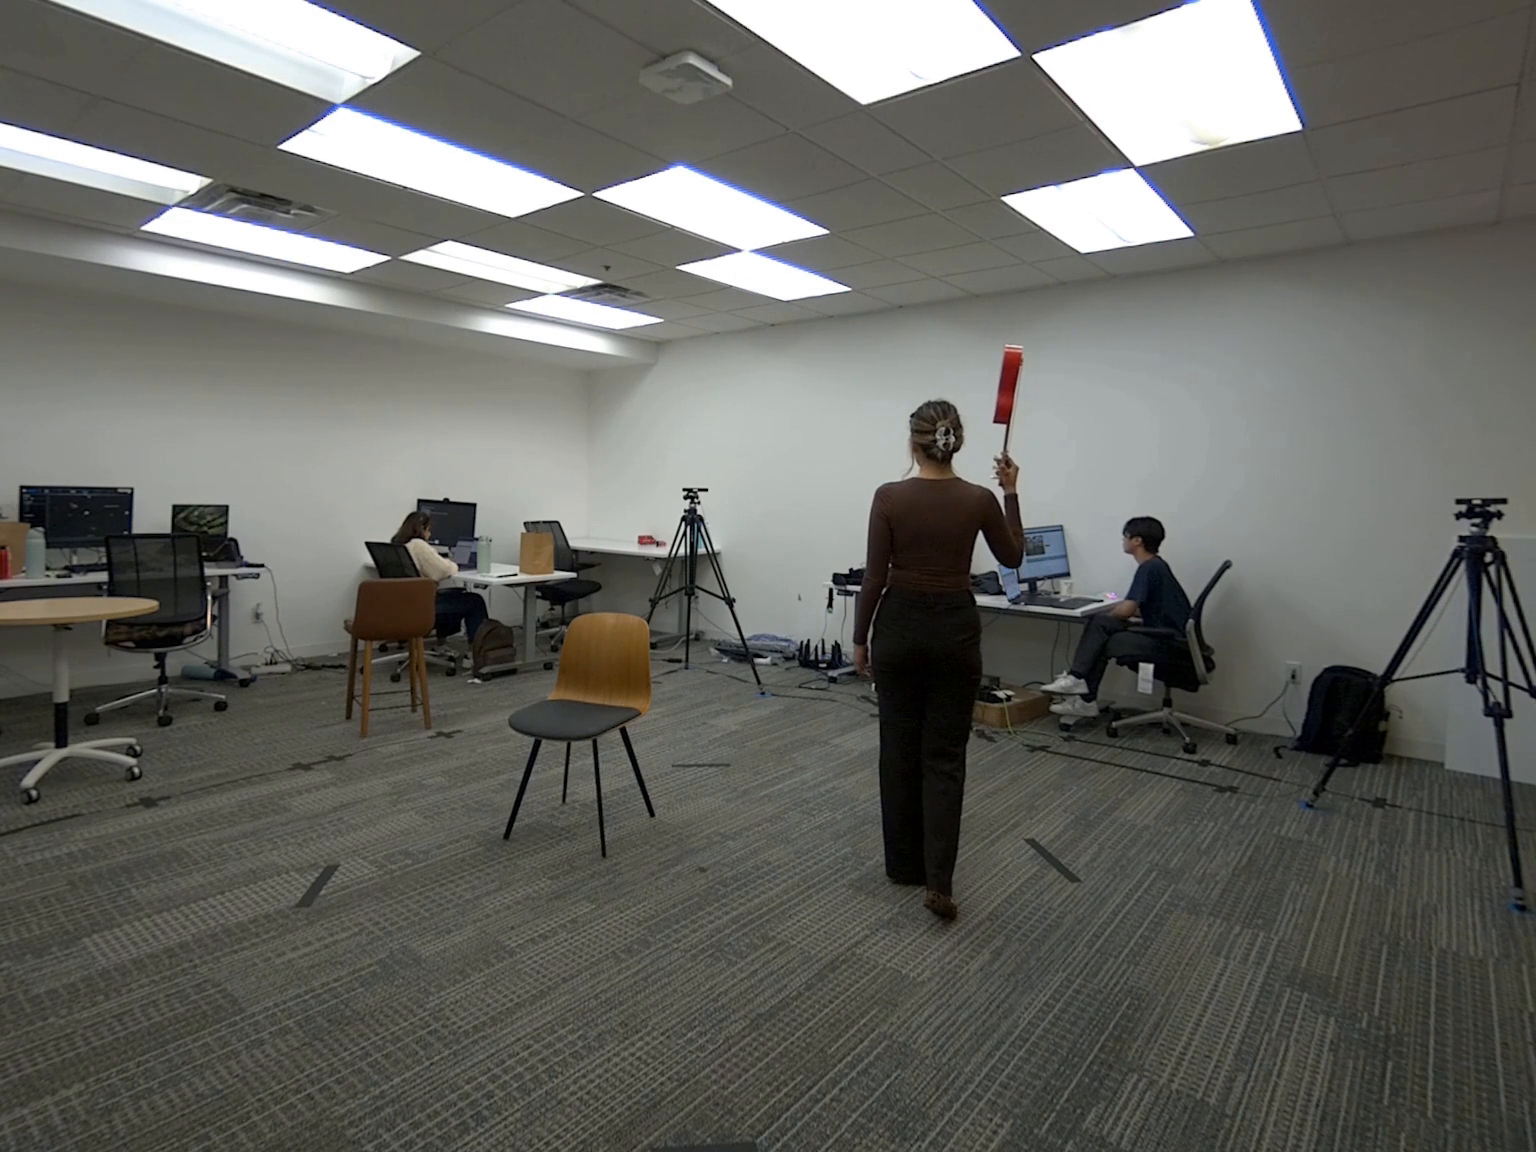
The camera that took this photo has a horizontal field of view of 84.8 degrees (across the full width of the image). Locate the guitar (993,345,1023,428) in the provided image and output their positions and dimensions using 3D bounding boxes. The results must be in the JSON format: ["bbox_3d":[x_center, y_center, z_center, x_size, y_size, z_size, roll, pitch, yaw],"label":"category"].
[{"bbox_3d":[0.814,-0.569,3.008,0.072,0.496,0.190,10,4,11],"label":"guitar"}]
